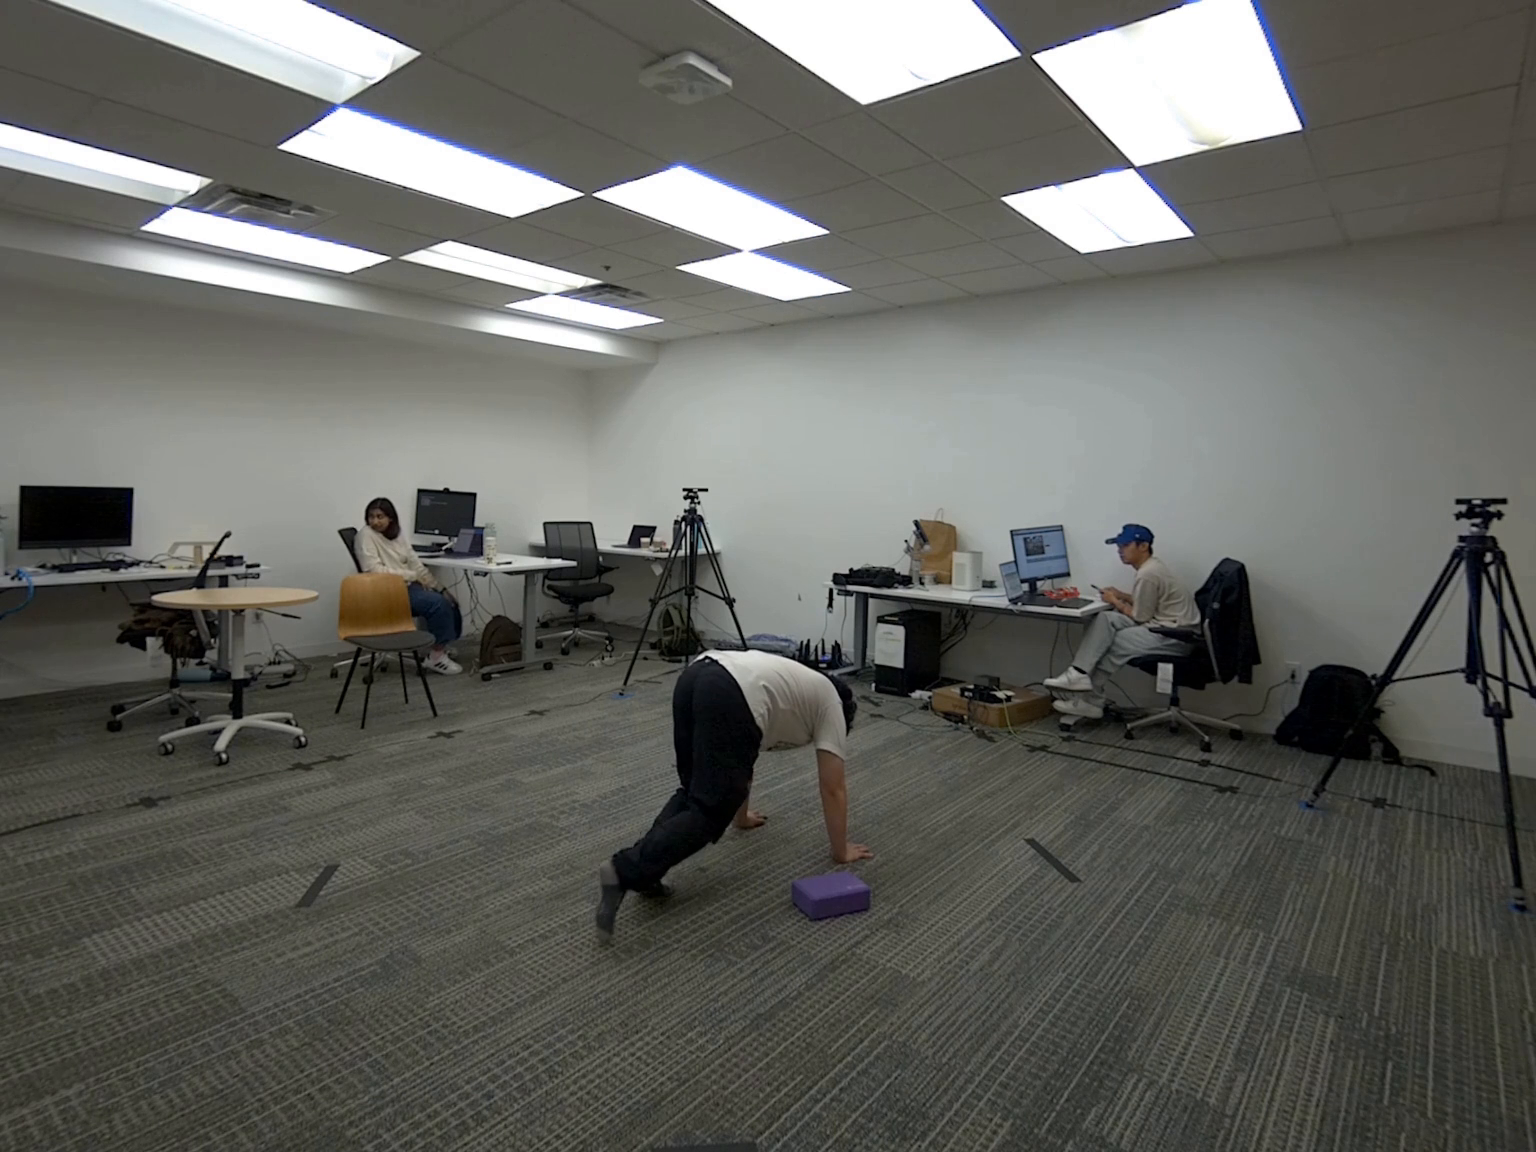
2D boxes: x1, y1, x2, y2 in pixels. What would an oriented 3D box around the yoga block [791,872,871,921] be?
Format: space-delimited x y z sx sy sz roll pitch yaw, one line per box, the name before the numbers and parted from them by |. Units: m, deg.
yoga block | 0.201 1.065 2.849 0.224 0.076 0.153 0 4 -23
